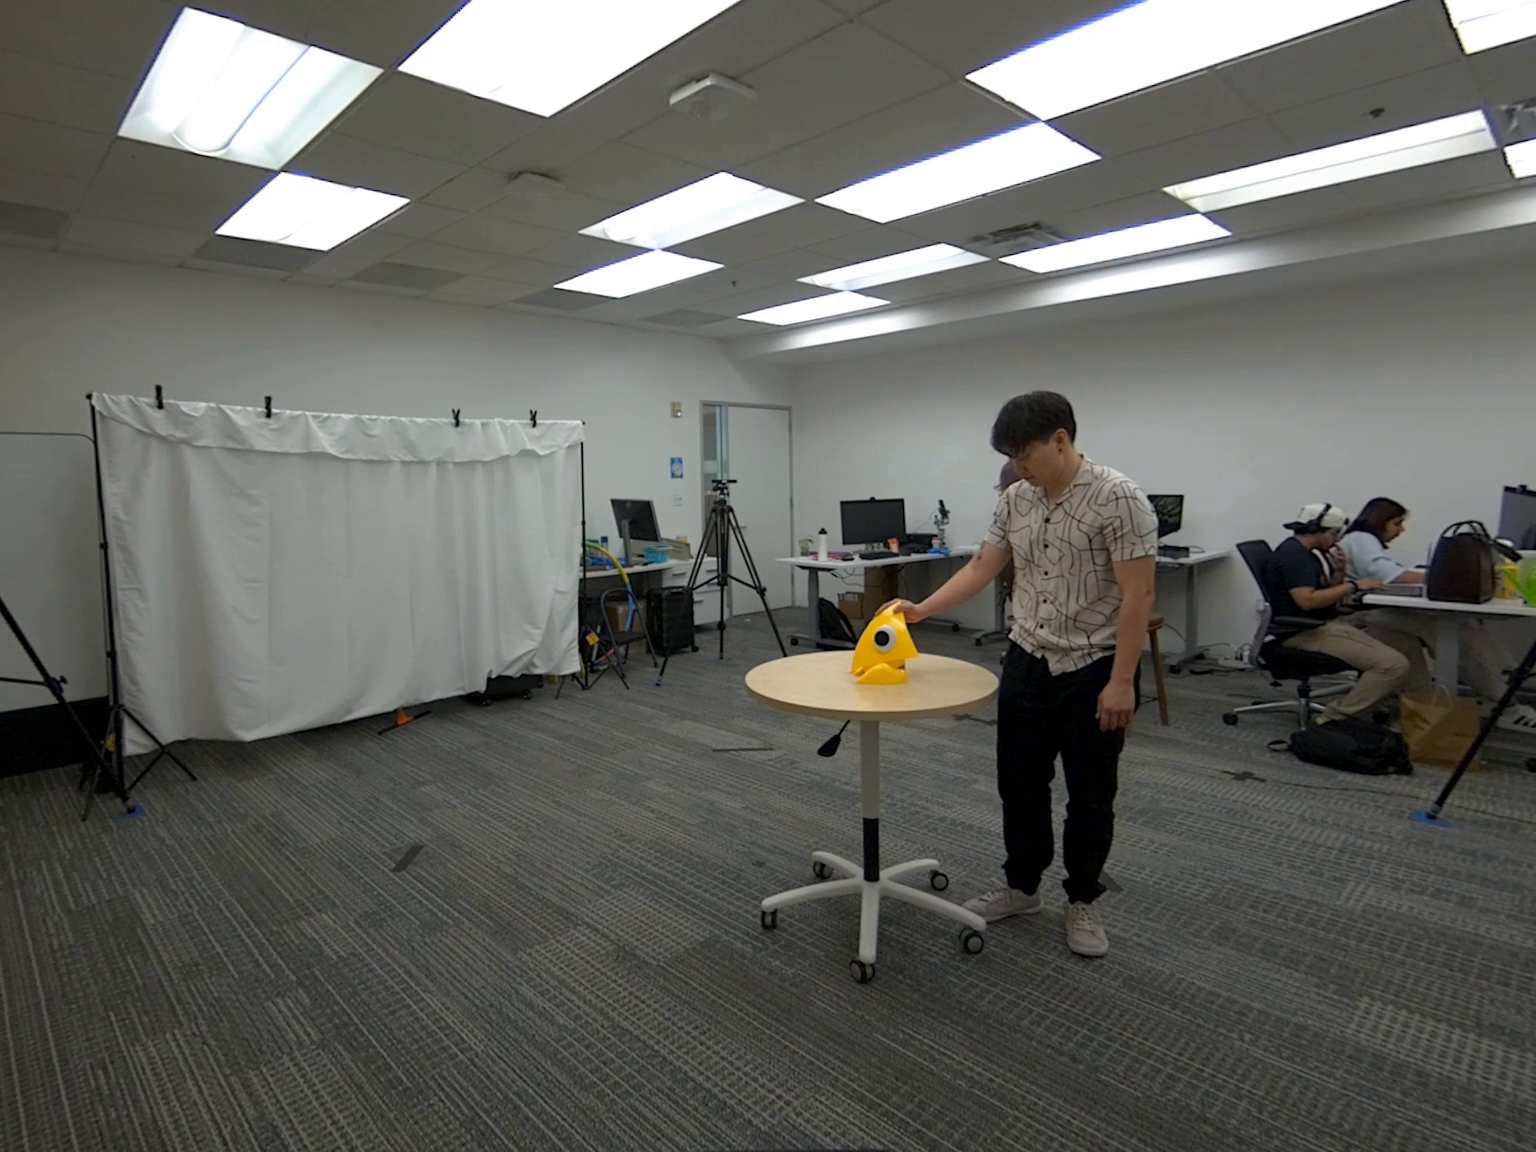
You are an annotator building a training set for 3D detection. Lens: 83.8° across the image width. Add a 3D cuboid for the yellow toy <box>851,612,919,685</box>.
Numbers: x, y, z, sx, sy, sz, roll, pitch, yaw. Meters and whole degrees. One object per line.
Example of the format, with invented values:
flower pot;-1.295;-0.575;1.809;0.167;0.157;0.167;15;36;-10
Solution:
yellow toy;0.355;0.199;2.623;0.192;0.229;0.207;-2;6;-5
